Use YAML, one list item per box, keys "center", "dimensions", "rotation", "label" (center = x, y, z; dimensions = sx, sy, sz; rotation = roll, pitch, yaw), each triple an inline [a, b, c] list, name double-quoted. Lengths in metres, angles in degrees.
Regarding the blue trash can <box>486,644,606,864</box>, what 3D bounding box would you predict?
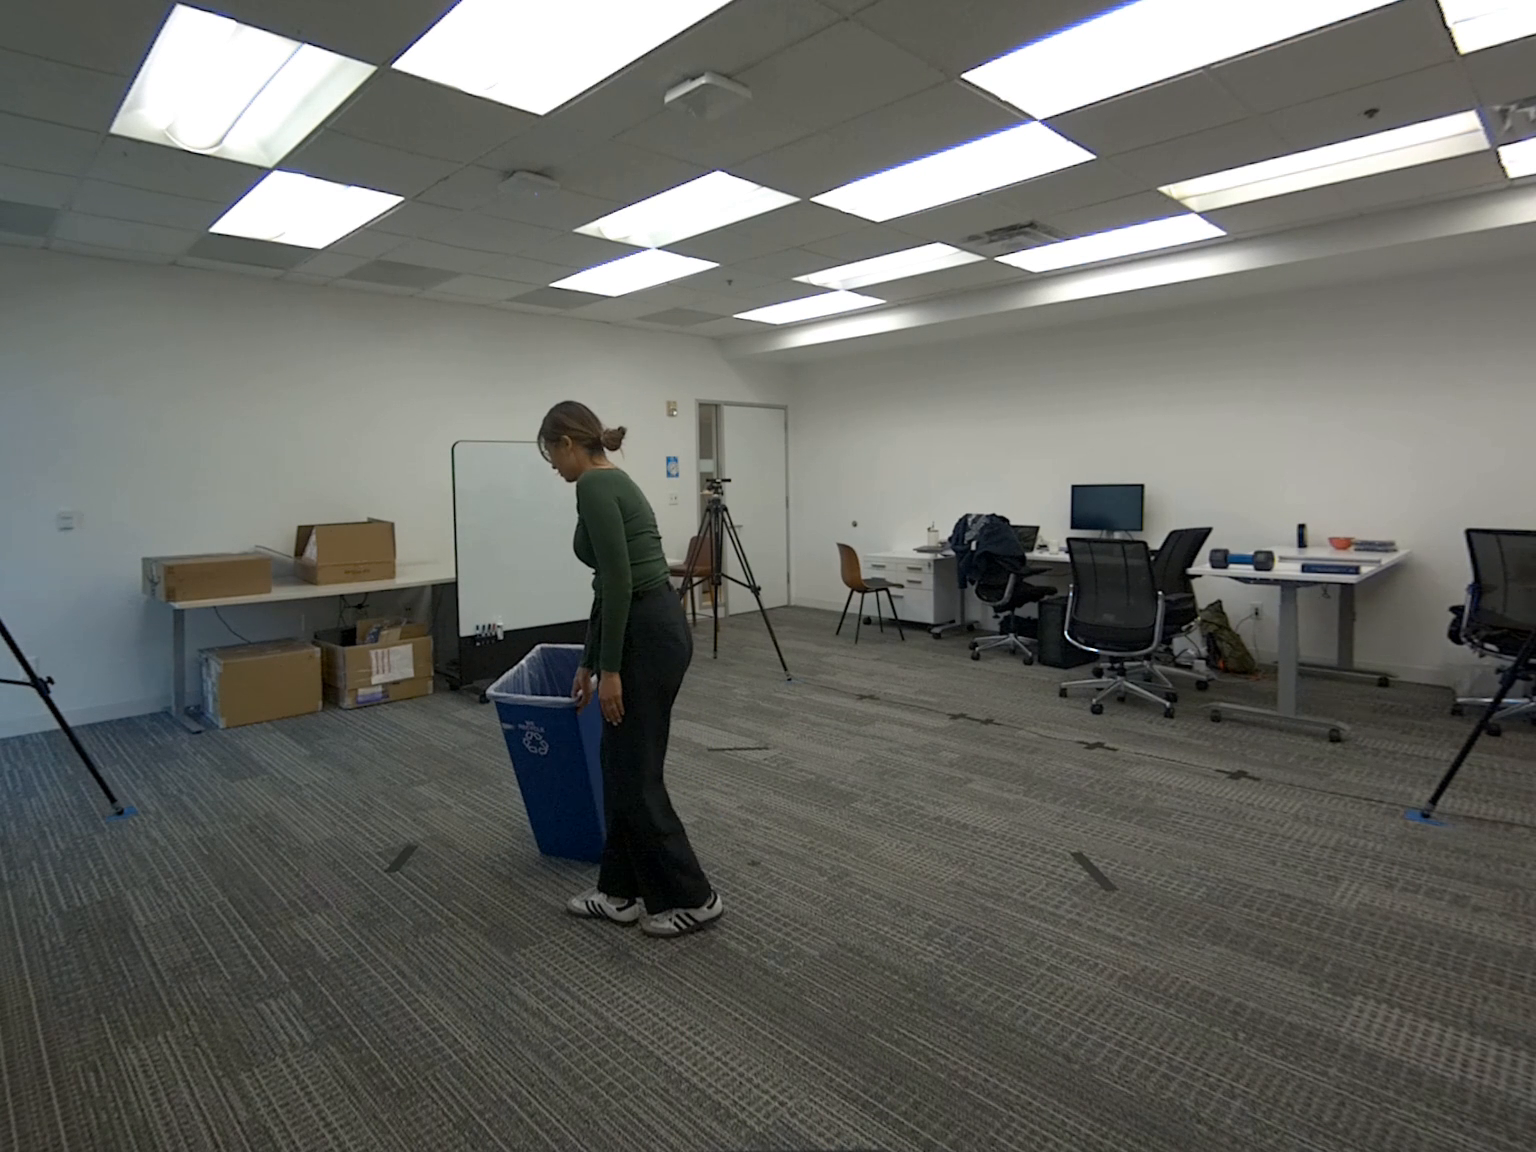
- center: [-0.722, 0.662, 3.183]
  dimensions: [0.385, 0.699, 0.375]
  rotation: [0, 22, 19]
  label: "blue trash can"
